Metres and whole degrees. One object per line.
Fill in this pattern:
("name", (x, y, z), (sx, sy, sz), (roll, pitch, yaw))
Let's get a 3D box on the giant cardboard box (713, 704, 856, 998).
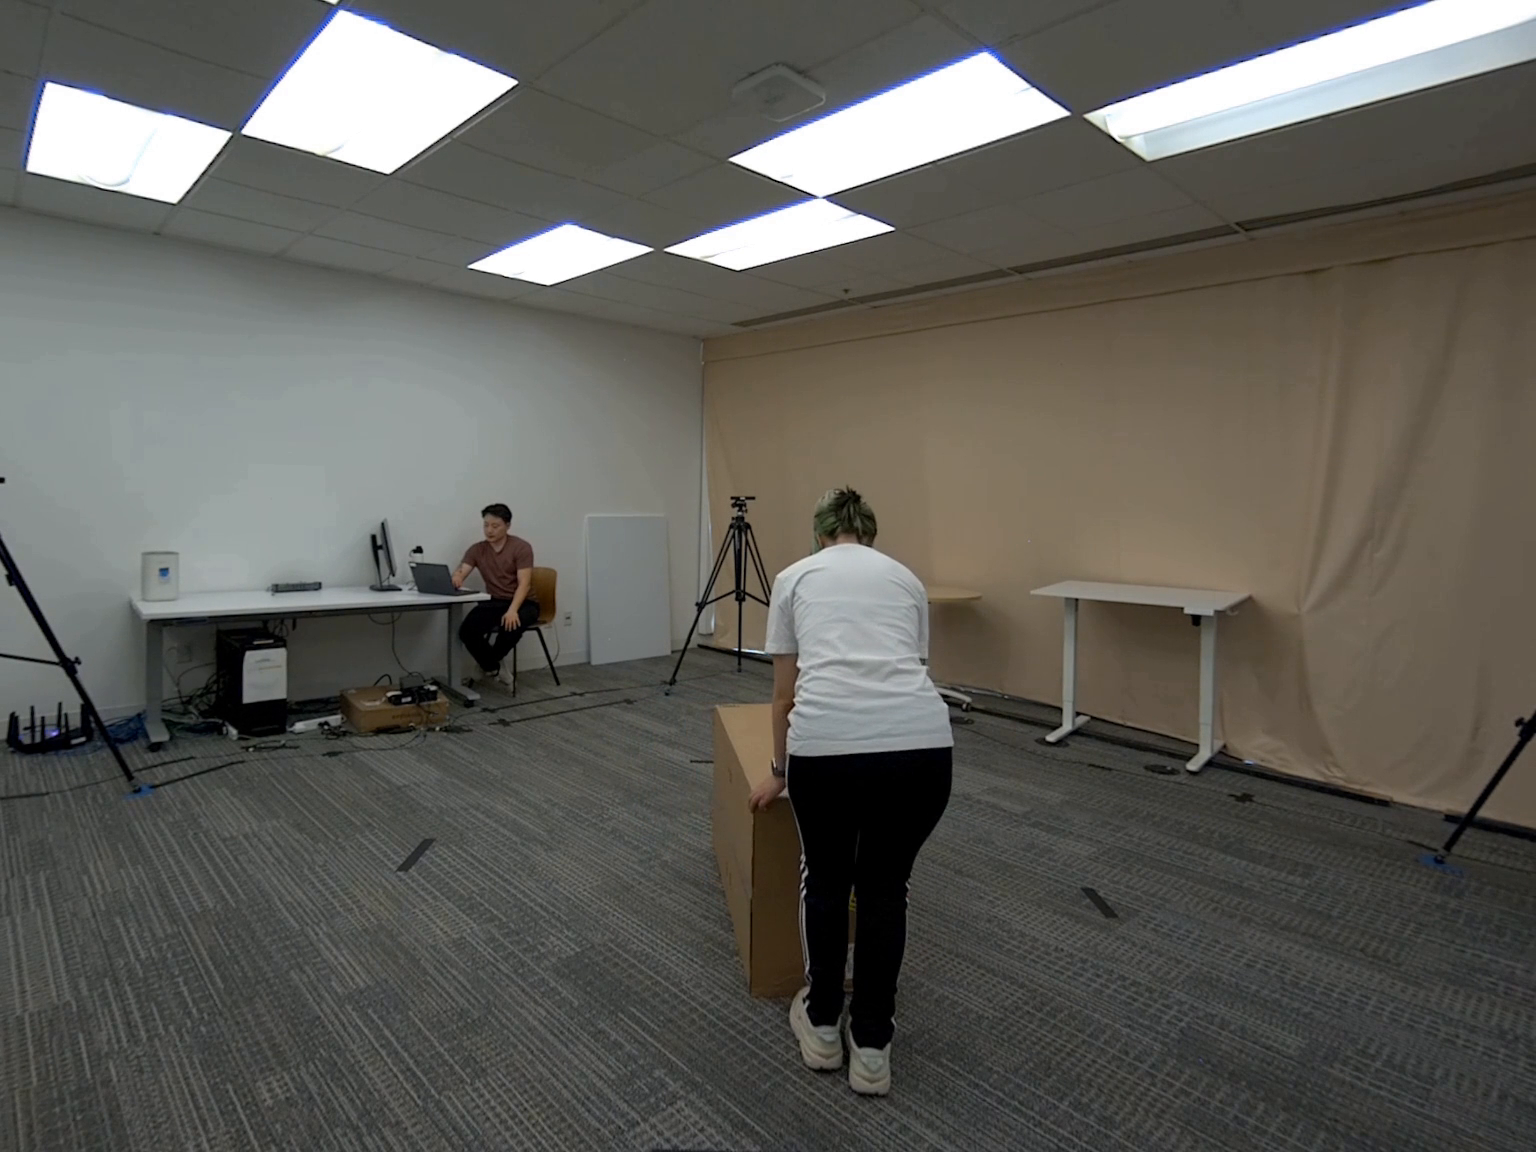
("giant cardboard box", (0.074, 0.841, 2.854), (0.443, 0.582, 1.038), (1, 5, -10))
